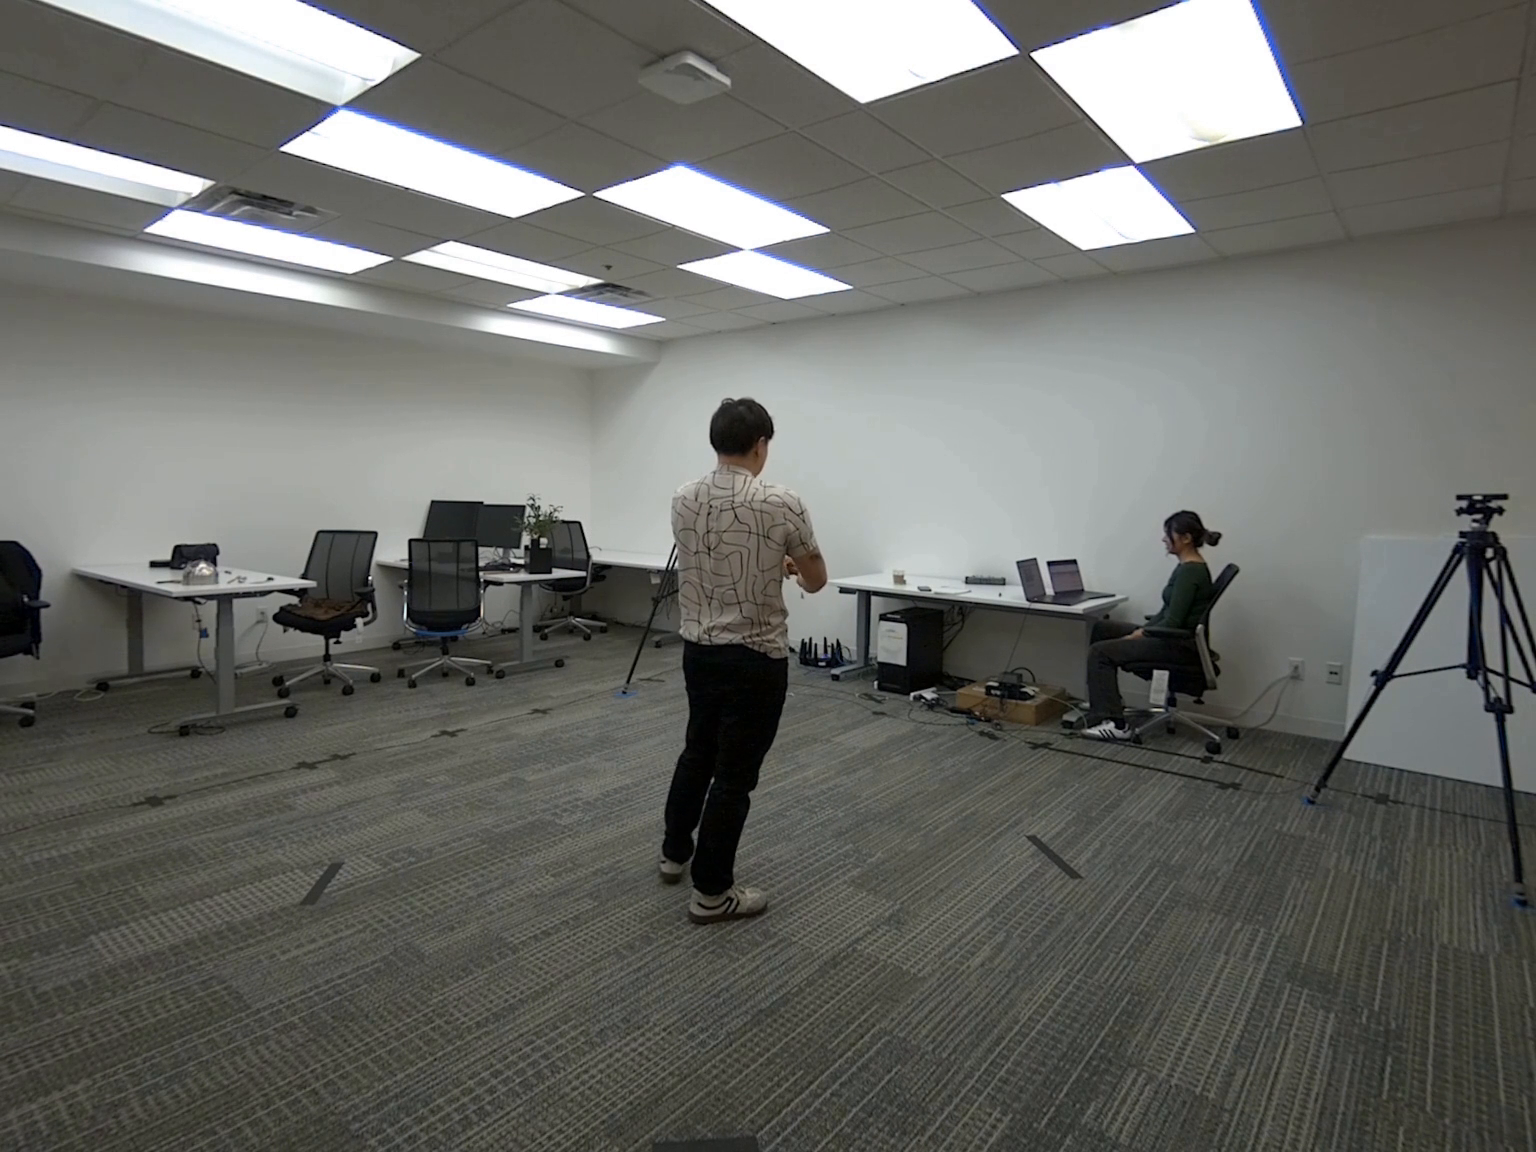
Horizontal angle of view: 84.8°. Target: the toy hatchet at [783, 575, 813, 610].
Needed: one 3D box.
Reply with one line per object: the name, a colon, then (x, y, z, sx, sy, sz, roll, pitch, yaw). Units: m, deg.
toy hatchet: (0.051, 0.003, 3.145, 0.281, 0.130, 0.028, 29, 8, 33)
